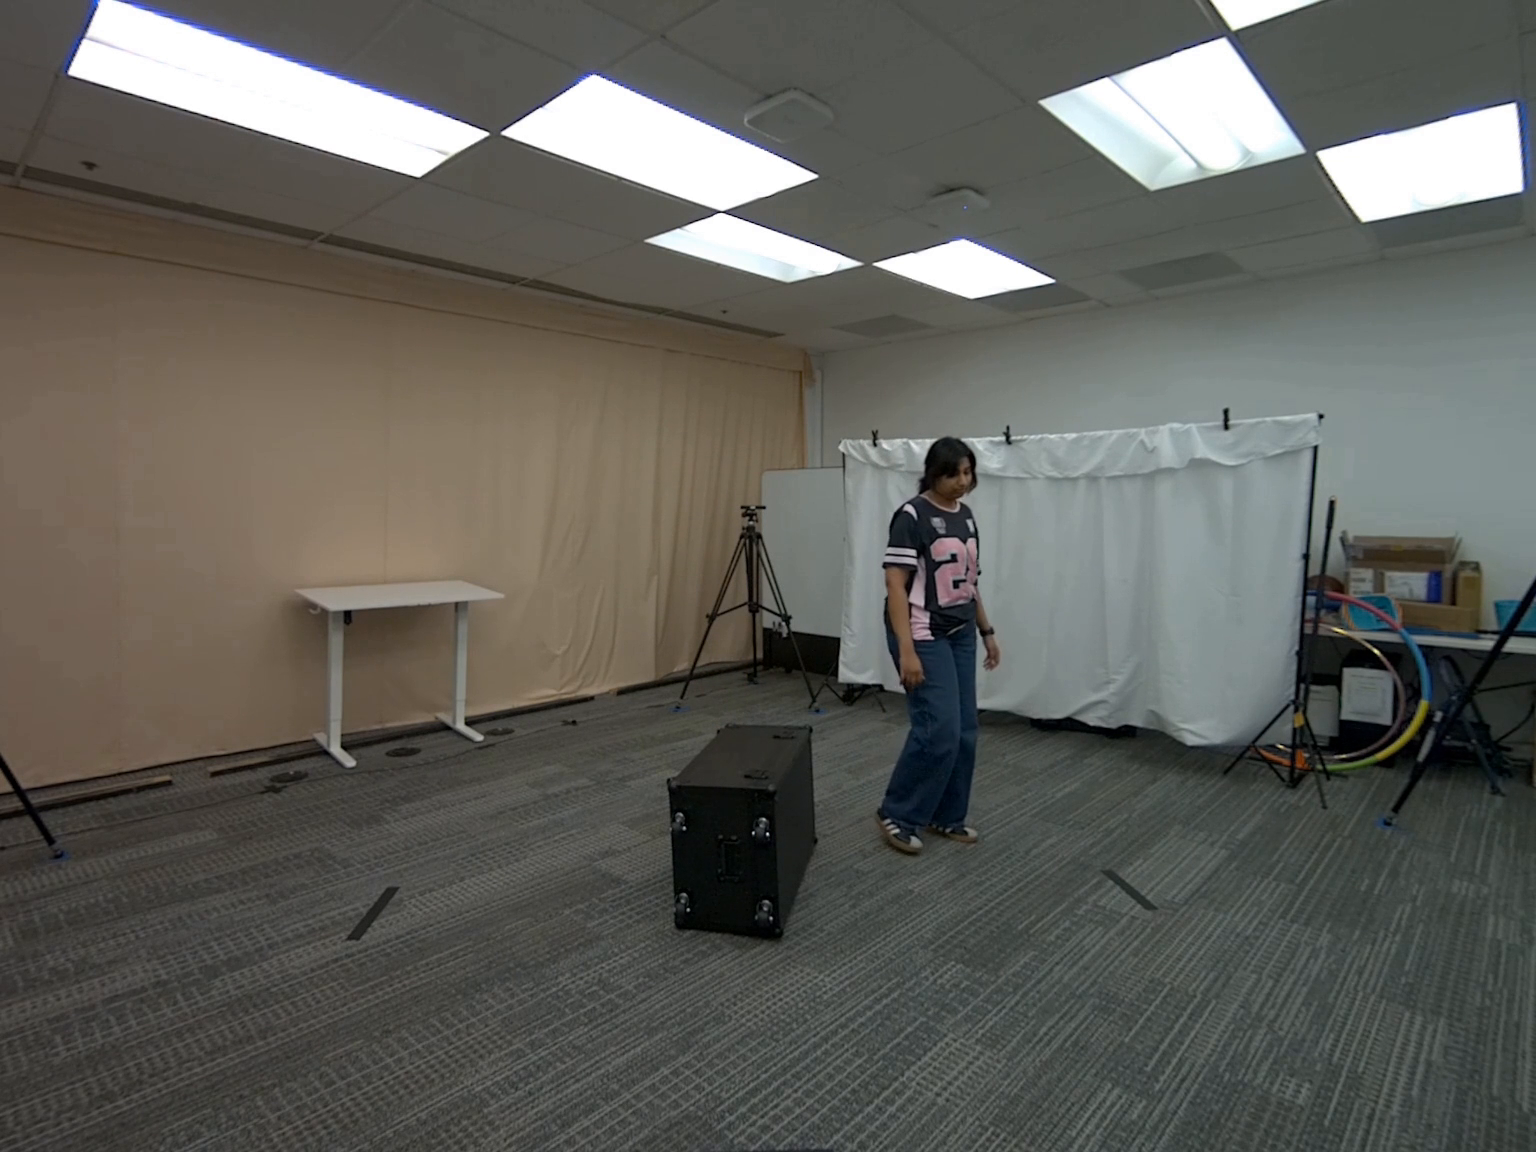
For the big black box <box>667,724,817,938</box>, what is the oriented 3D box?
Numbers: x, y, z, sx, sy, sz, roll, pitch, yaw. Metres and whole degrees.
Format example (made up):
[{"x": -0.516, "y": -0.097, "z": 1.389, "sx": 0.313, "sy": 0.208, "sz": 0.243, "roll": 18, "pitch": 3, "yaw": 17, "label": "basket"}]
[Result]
[{"x": -0.075, "y": 0.882, "z": 3.055, "sx": 0.391, "sy": 0.522, "sz": 0.858, "roll": 0, "pitch": 4, "yaw": 12, "label": "big black box"}]
